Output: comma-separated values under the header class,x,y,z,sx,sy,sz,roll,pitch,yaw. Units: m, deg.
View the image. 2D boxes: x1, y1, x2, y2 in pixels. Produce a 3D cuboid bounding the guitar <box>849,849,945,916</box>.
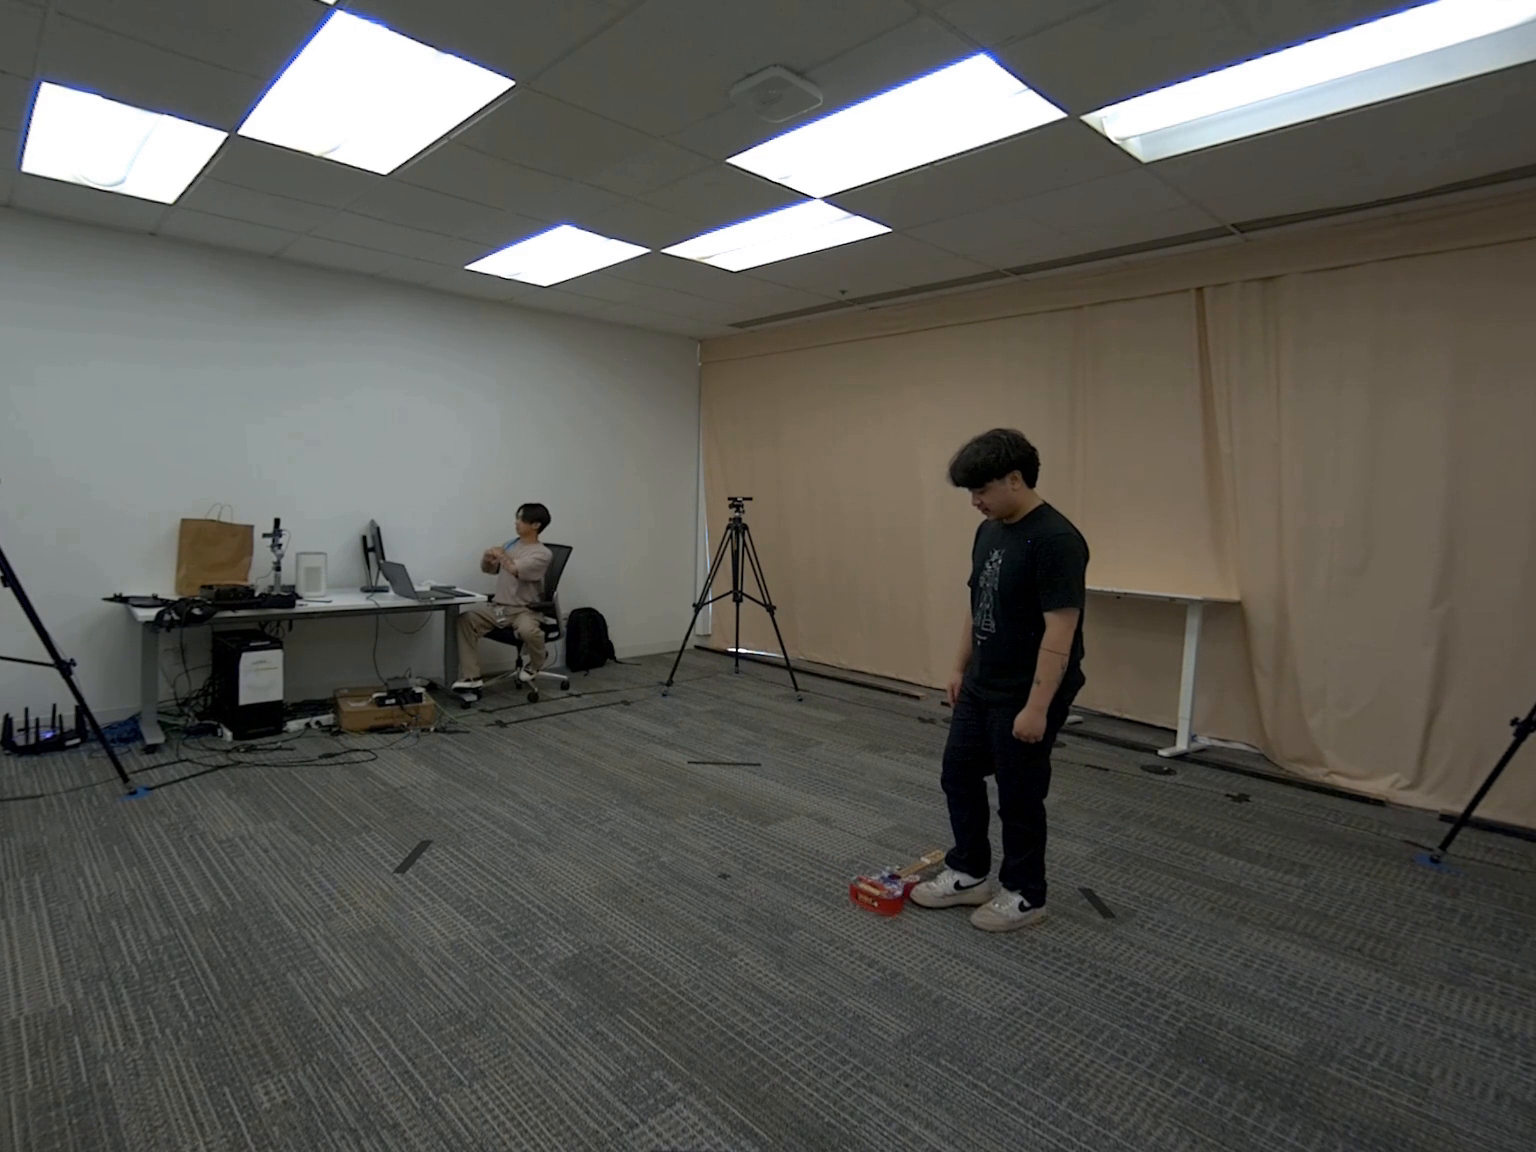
class,x,y,z,sx,sy,sz,roll,pitch,yaw
guitar,0.517,1.095,3.032,0.487,0.070,0.198,-2,6,-37
